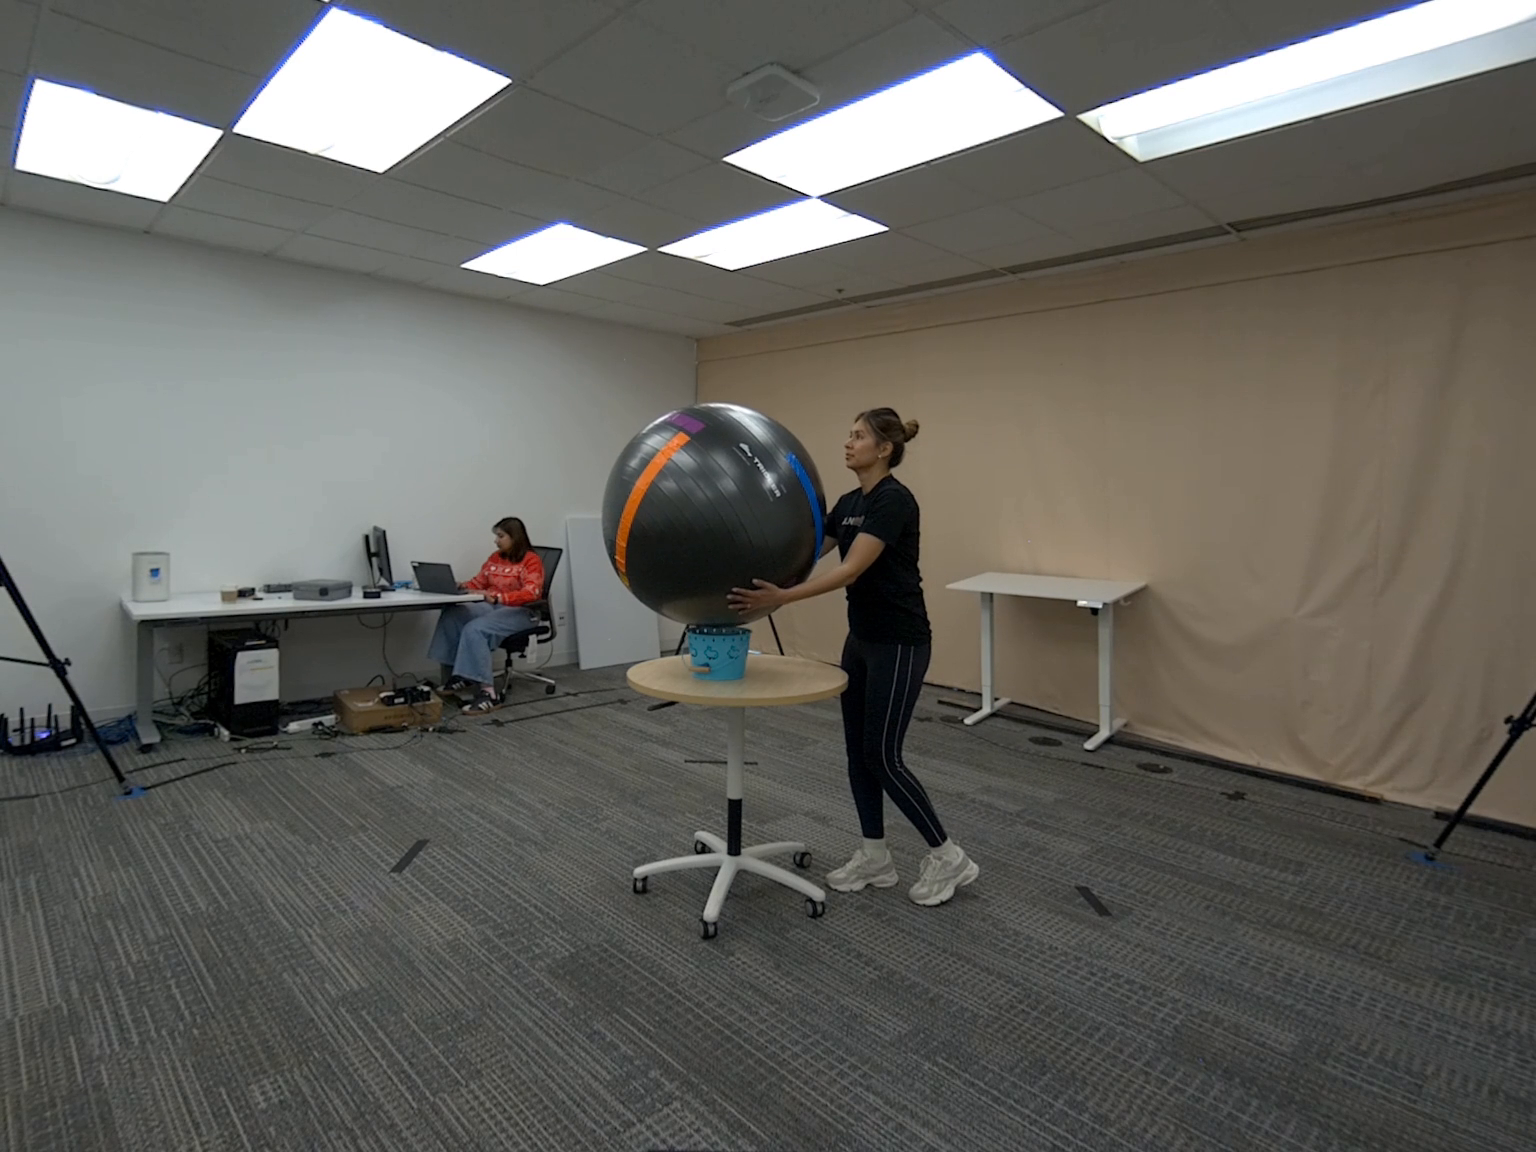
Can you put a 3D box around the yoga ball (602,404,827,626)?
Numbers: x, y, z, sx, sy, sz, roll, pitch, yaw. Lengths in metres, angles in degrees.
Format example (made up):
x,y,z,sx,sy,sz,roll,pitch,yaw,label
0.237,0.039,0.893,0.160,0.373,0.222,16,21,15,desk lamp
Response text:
x,y,z,sx,sy,sz,roll,pitch,yaw,label
-0.182,-0.201,2.844,0.757,0.756,0.761,1,4,-1,yoga ball
